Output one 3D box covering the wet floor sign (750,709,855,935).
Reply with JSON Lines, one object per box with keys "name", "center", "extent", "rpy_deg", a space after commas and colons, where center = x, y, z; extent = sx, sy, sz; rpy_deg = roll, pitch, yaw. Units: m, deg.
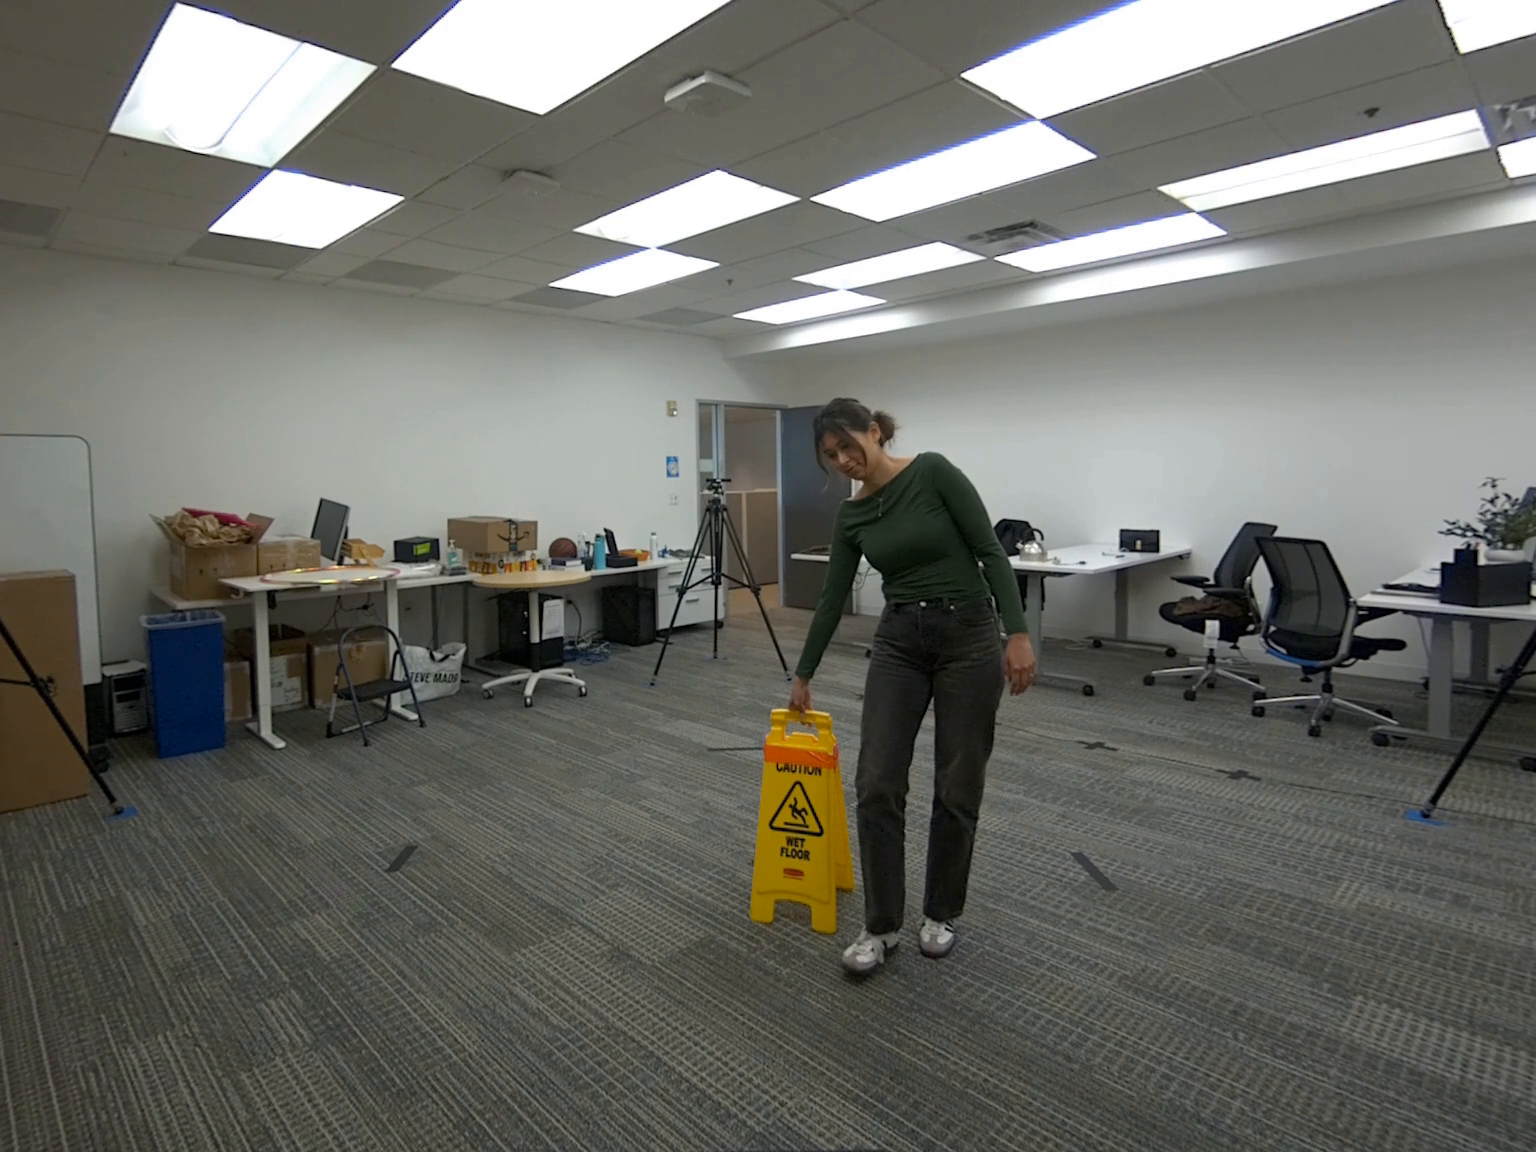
{"name": "wet floor sign", "center": [0.115, 0.757, 2.785], "extent": [0.287, 0.644, 0.285], "rpy_deg": [2, 4, 18]}
